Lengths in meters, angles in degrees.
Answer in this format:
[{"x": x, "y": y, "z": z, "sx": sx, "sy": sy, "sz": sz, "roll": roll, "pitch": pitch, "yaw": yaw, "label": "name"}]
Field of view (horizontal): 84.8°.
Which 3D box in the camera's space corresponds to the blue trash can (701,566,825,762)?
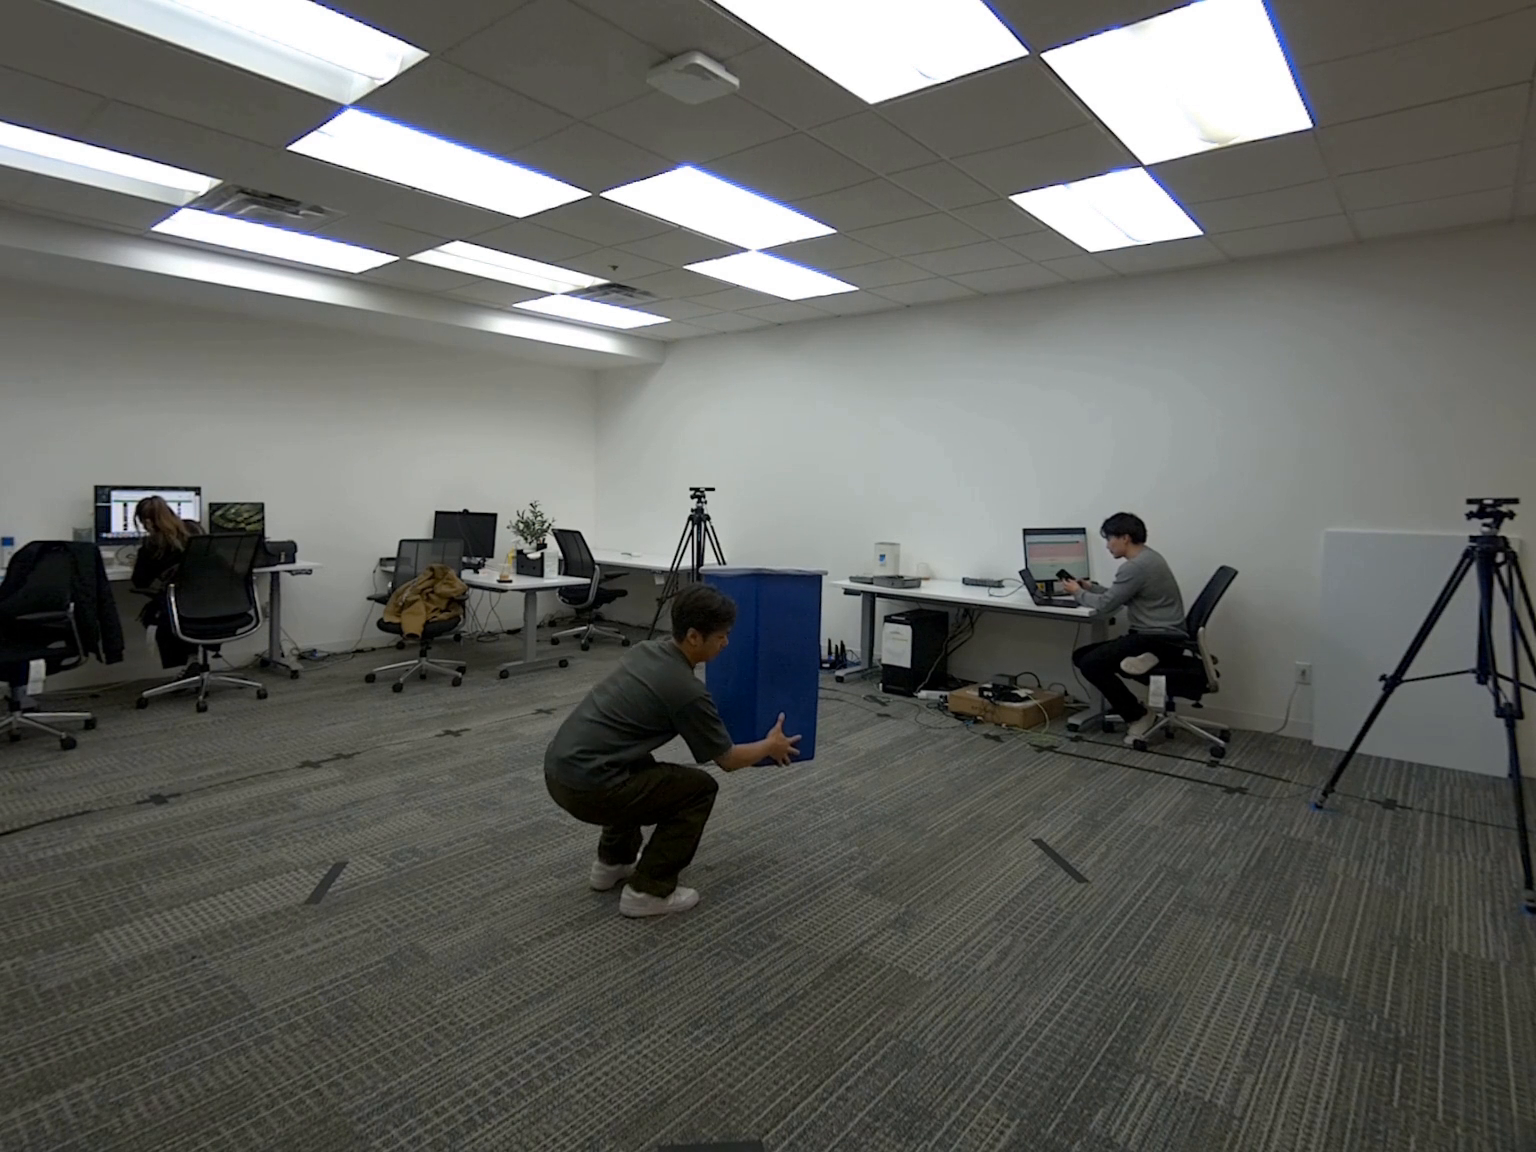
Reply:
[{"x": -0.036, "y": 0.322, "z": 3.246, "sx": 0.366, "sy": 0.715, "sz": 0.385, "roll": 4, "pitch": -3, "yaw": -40, "label": "blue trash can"}]
